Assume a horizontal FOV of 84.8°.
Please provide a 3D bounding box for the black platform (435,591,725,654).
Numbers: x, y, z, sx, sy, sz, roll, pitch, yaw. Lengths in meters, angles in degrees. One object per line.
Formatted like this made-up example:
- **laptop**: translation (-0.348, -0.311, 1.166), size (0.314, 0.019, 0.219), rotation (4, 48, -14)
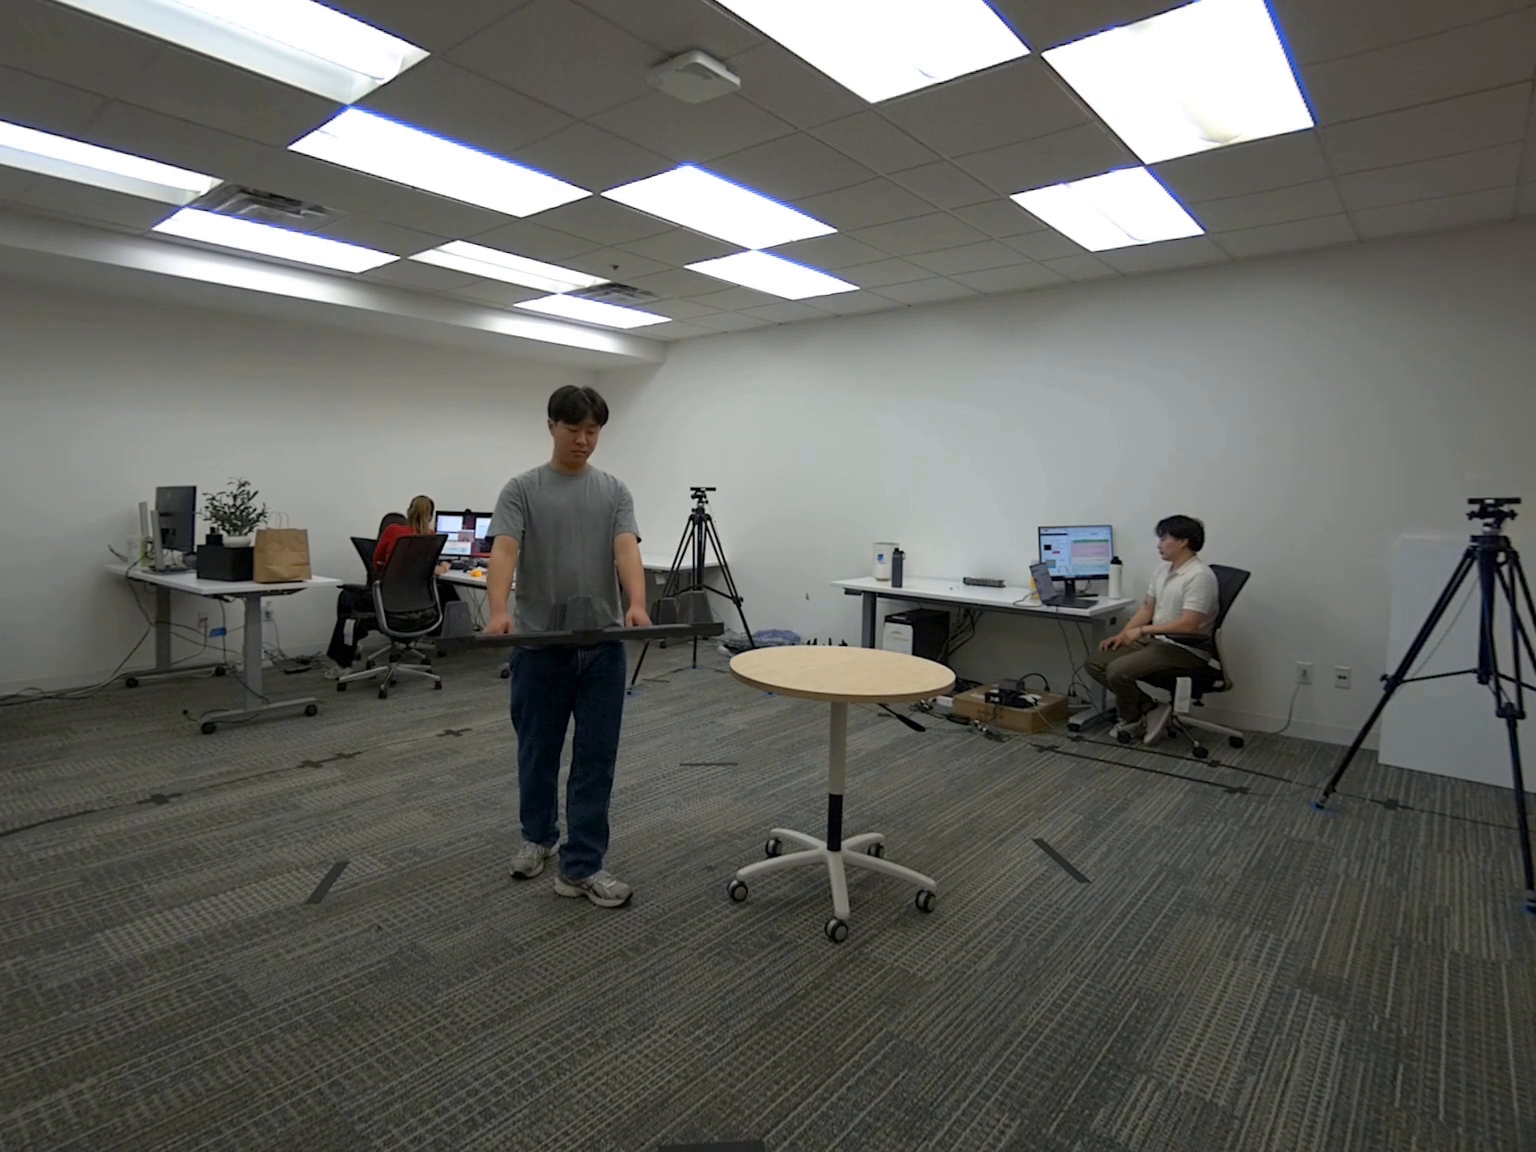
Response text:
- **black platform**: translation (-0.608, 0.141, 2.619), size (0.791, 0.144, 0.613), rotation (-2, -4, -19)
